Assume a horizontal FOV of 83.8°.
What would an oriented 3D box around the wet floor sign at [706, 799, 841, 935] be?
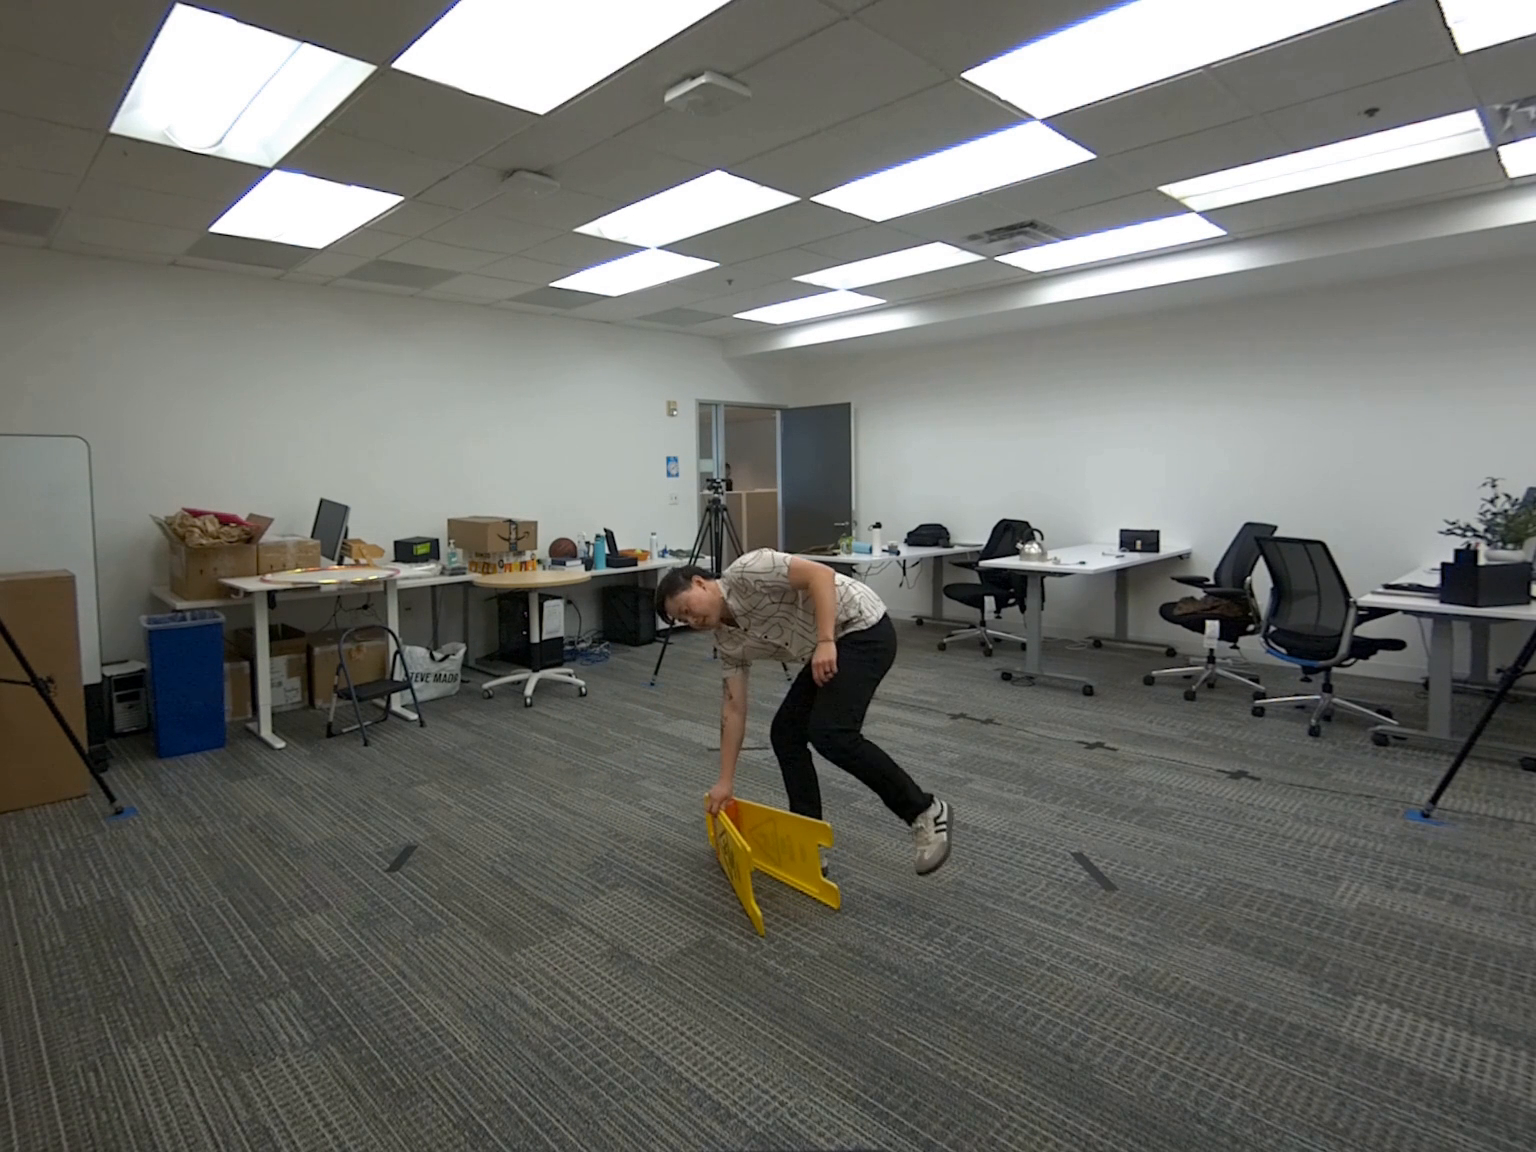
[{"bbox_3d":[-0.065,0.930,2.946,0.284,0.281,0.662,-9,7,-28],"label":"wet floor sign"}]
